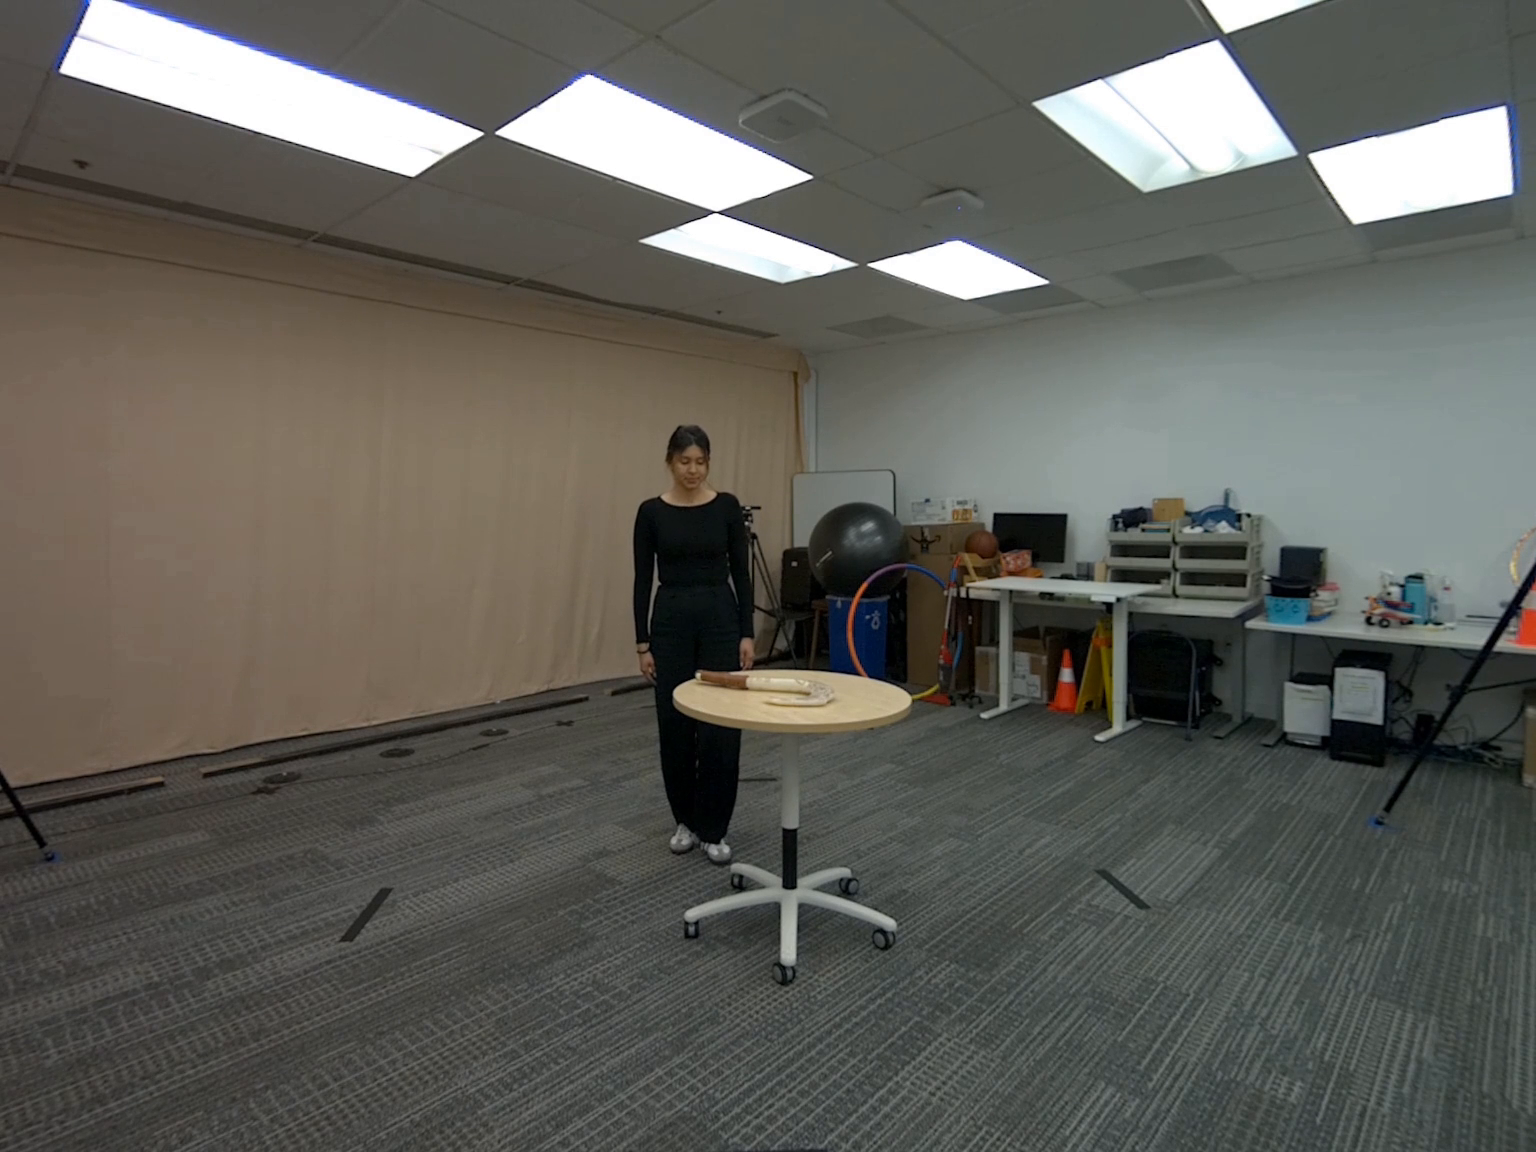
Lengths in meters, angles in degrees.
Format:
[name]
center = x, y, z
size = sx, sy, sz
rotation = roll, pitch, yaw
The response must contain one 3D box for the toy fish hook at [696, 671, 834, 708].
[toy fish hook]
center = -0.027, 0.369, 2.686
size = 0.520, 0.048, 0.219
rotation = 3, 3, 27
